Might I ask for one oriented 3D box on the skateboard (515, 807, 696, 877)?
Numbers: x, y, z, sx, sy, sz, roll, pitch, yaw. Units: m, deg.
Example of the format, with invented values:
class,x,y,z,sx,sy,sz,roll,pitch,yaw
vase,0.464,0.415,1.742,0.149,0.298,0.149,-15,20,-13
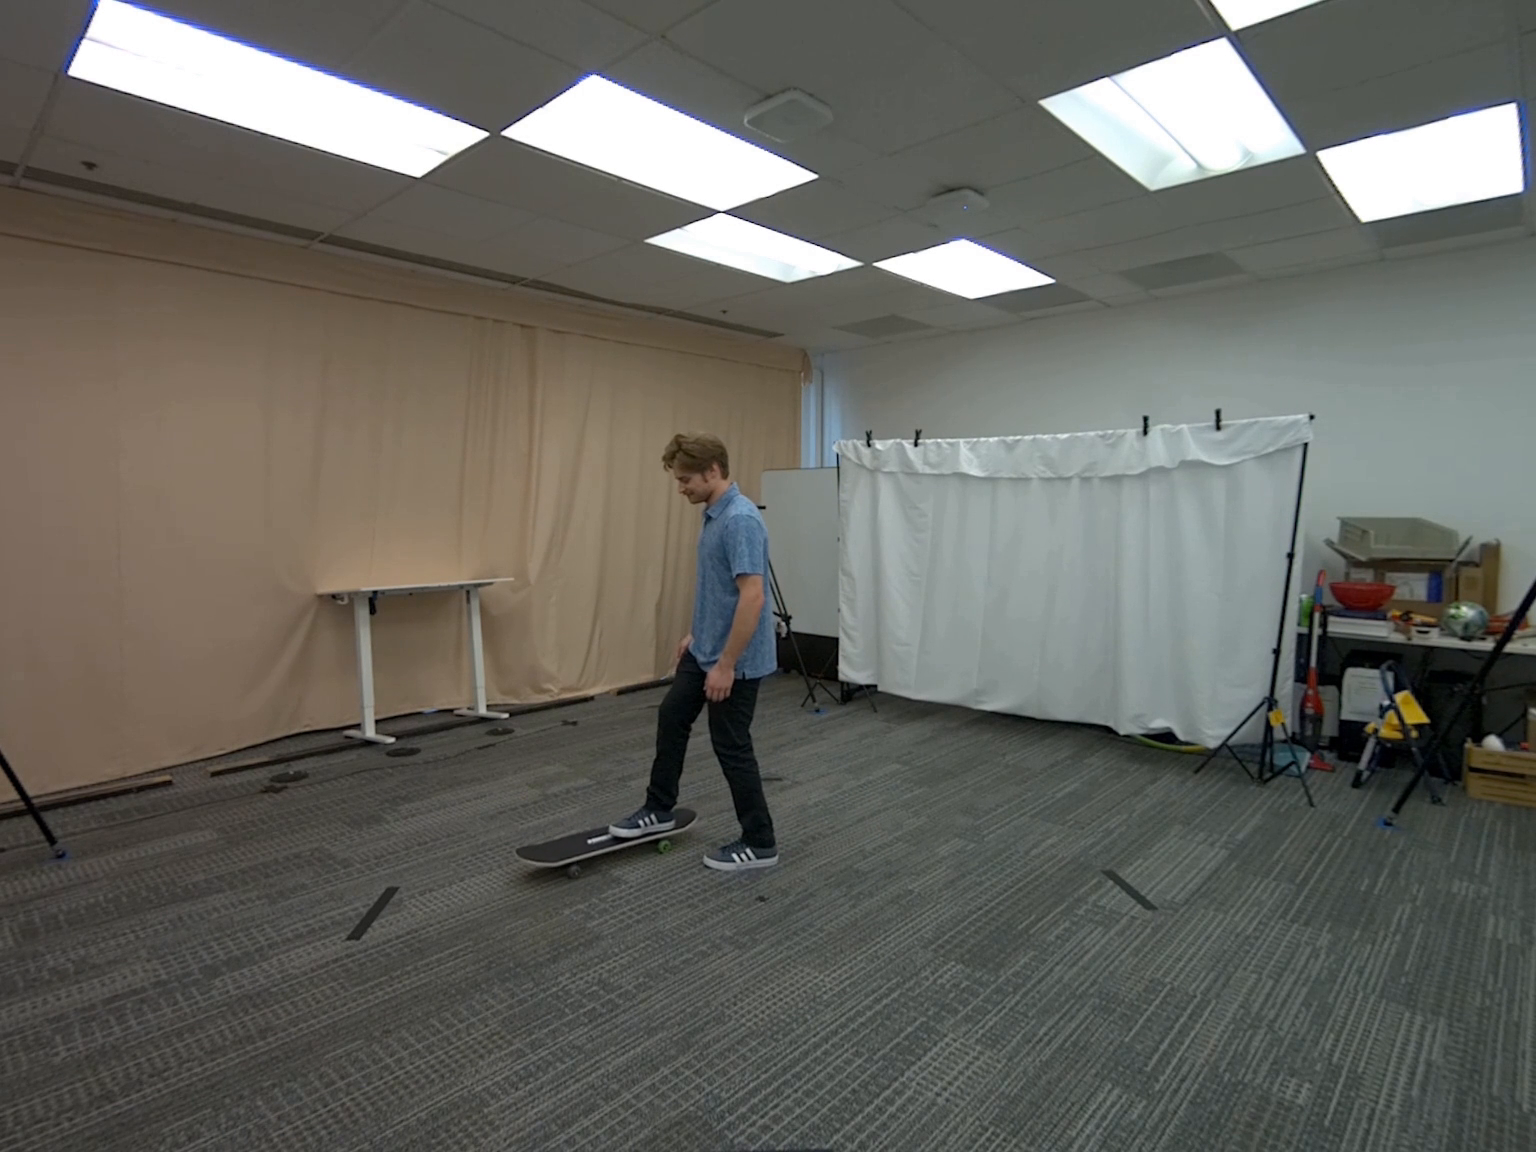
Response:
class,x,y,z,sx,sy,sz,roll,pitch,yaw
skateboard,-0.618,1.063,3.335,0.762,0.110,0.200,-4,6,-36
